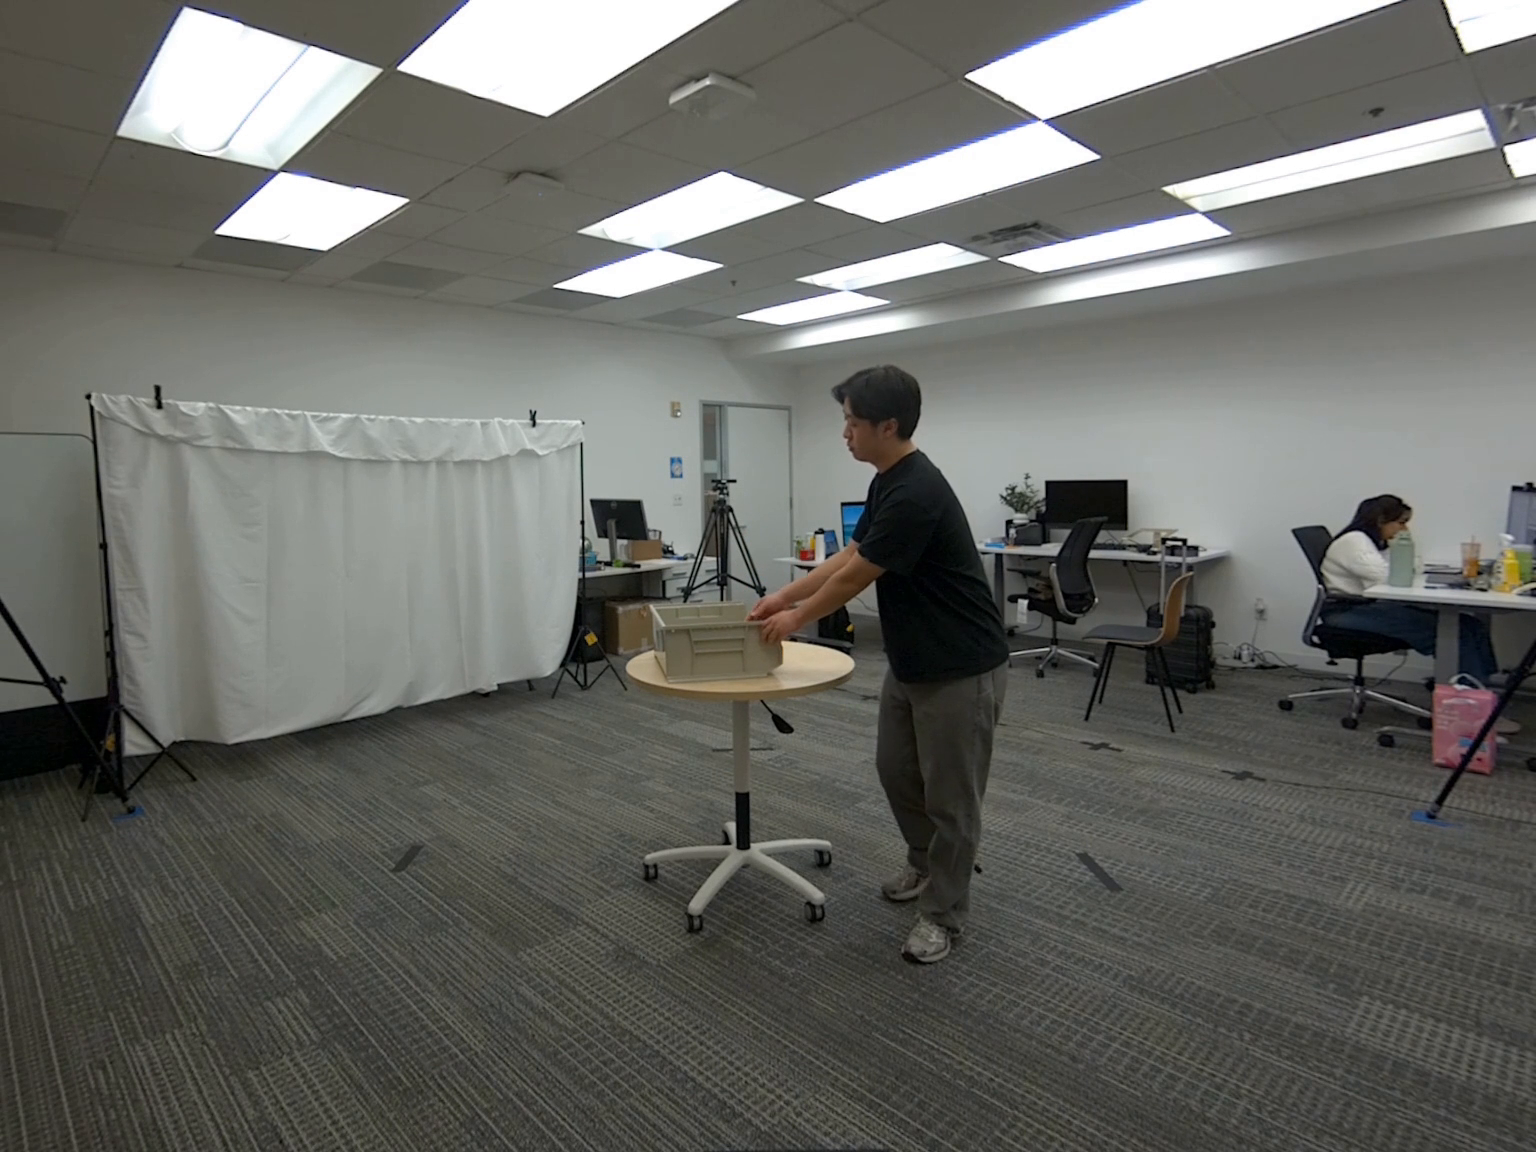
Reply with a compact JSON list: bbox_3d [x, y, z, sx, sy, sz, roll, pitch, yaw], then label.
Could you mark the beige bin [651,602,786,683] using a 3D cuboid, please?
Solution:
[{"bbox_3d":[-0.178,0.208,2.838,0.373,0.188,0.429,-3,7,-12],"label":"beige bin"}]
